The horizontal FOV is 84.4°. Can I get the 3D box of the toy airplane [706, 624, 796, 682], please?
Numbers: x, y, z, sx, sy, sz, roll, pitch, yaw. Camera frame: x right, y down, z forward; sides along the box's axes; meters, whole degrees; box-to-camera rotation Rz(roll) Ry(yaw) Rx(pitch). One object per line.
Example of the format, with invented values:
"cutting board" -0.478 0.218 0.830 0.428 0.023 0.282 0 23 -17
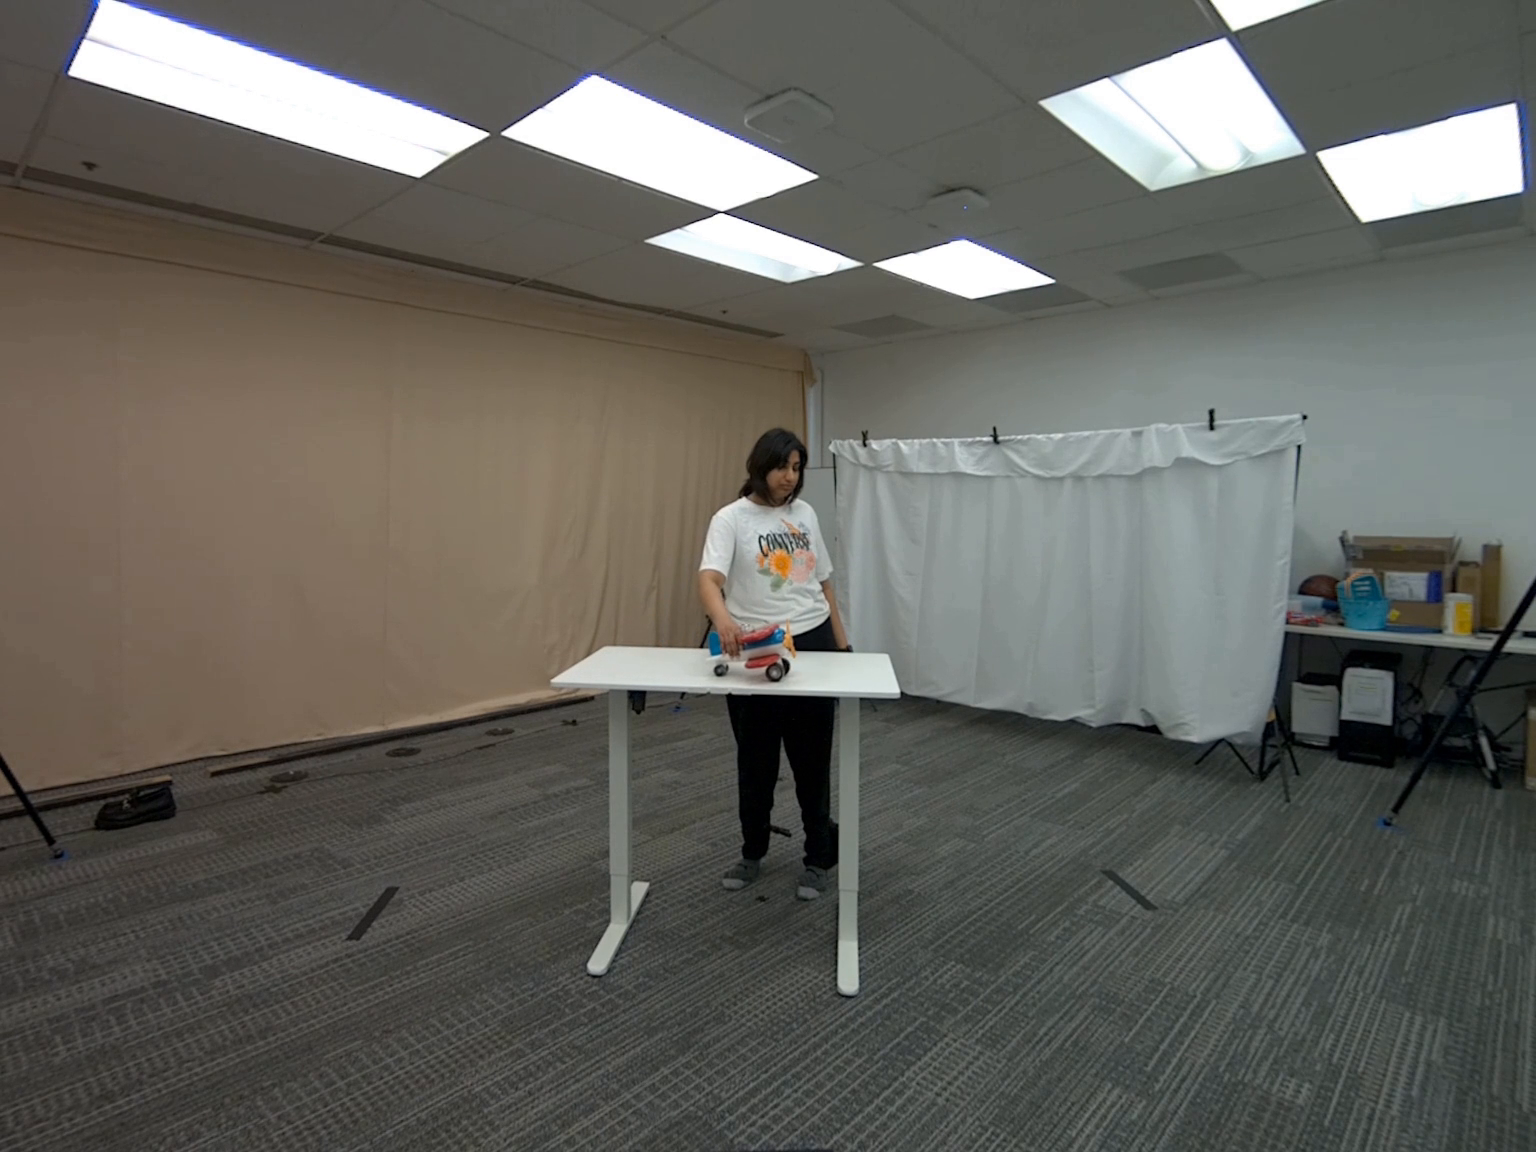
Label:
"toy airplane" -0.054 0.226 2.495 0.256 0.156 0.255 1 5 -13
